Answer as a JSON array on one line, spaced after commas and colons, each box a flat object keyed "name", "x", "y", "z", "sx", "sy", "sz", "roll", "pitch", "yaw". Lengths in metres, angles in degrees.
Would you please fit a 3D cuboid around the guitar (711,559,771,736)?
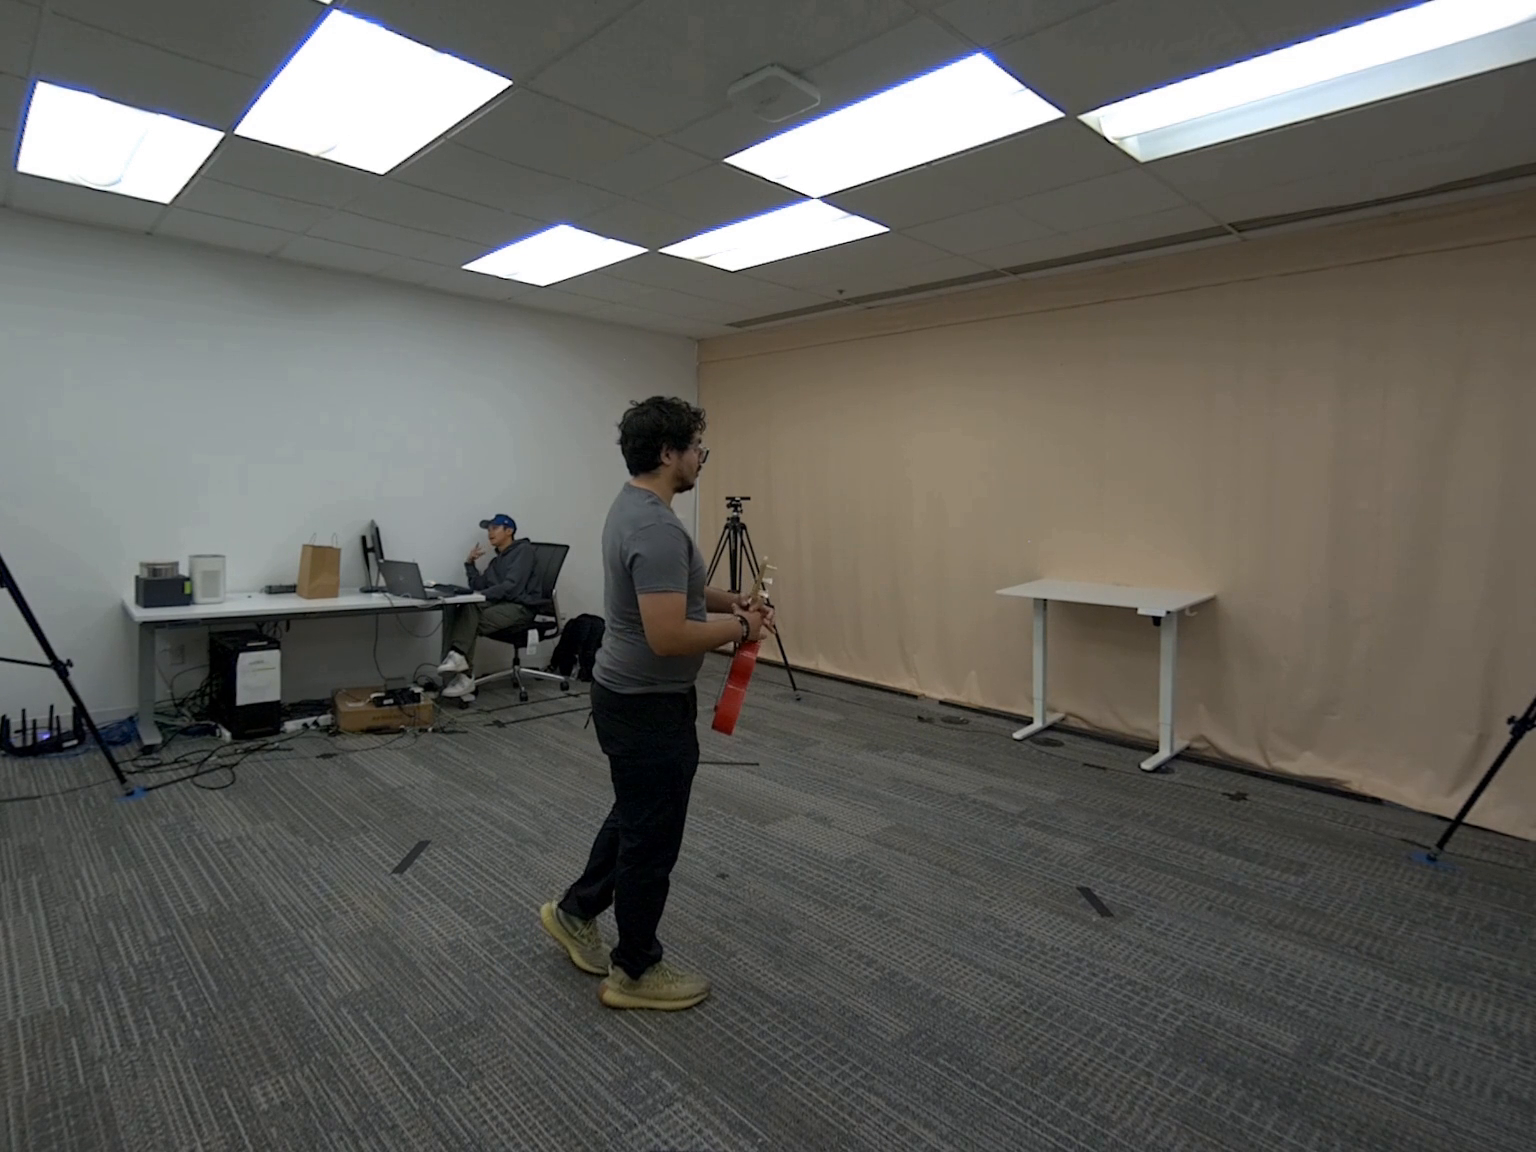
[{"name": "guitar", "x": -0.068, "y": 0.200, "z": 2.294, "sx": 0.071, "sy": 0.494, "sz": 0.194, "roll": 17, "pitch": 15, "yaw": 1}]
